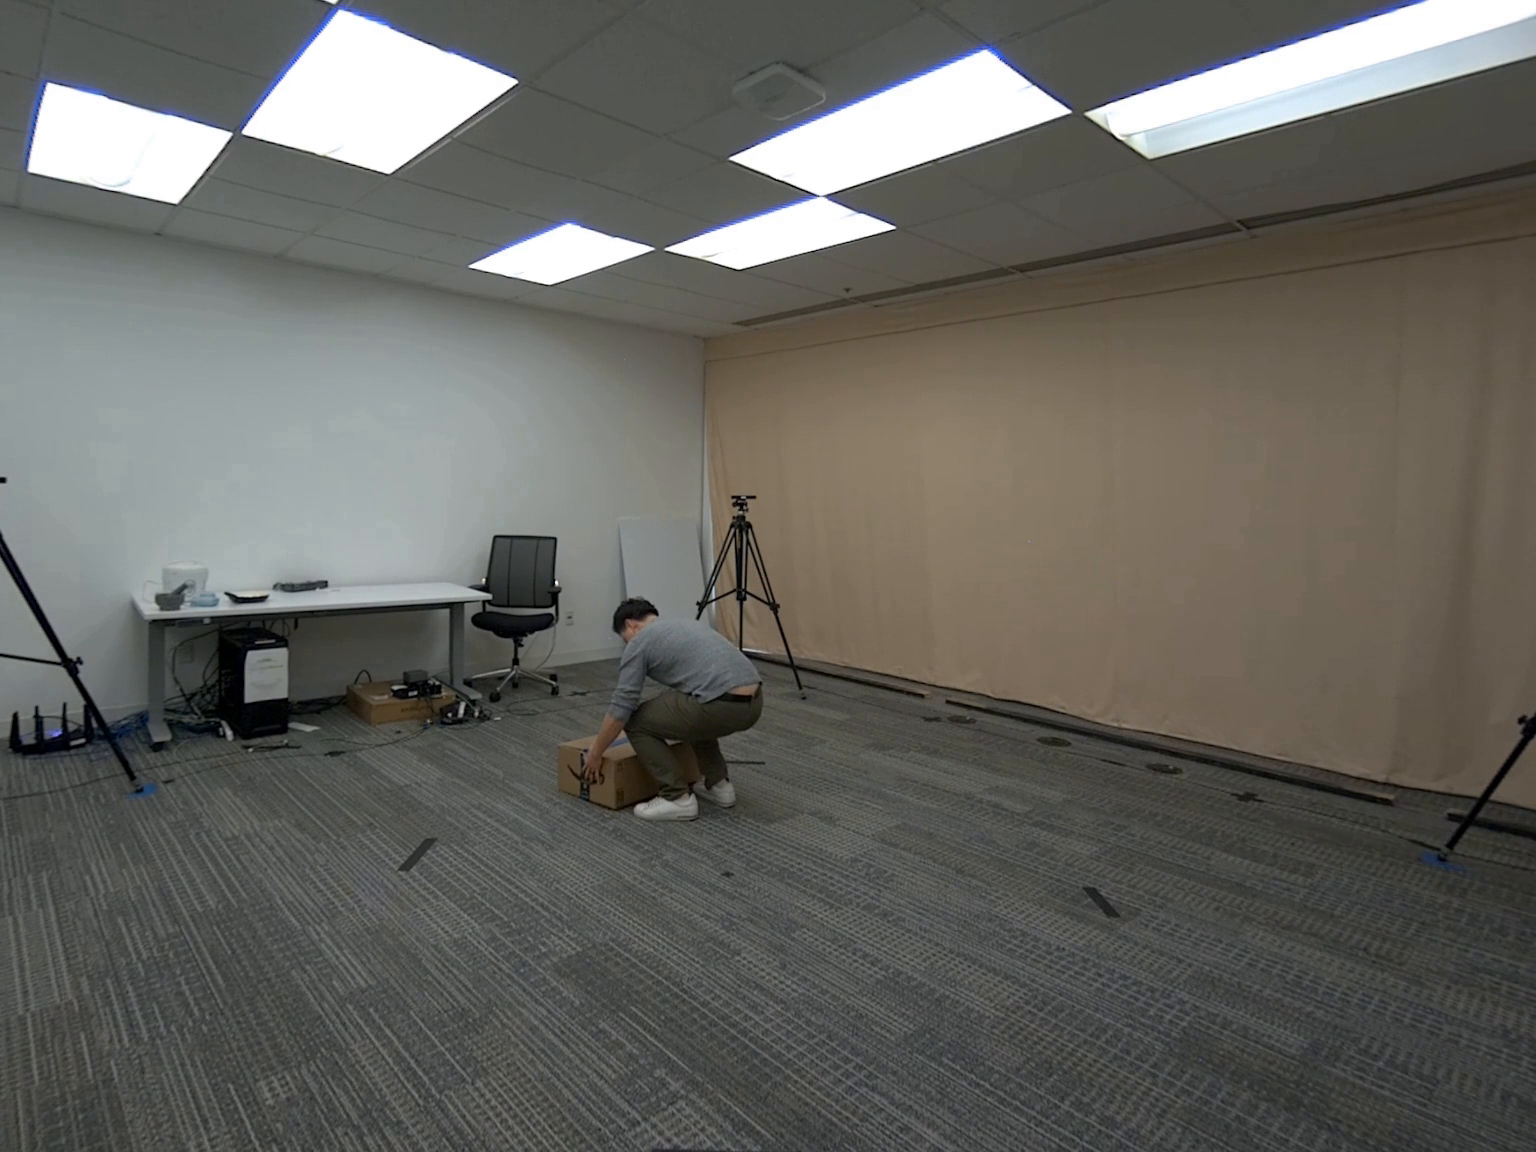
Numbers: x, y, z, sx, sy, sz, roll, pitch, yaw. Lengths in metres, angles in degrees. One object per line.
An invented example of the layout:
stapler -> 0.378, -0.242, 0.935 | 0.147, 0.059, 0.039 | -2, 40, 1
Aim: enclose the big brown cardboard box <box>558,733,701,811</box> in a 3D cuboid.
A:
big brown cardboard box -> -0.657, 0.883, 4.031 | 0.427, 0.232, 0.576 | 2, 5, 39
